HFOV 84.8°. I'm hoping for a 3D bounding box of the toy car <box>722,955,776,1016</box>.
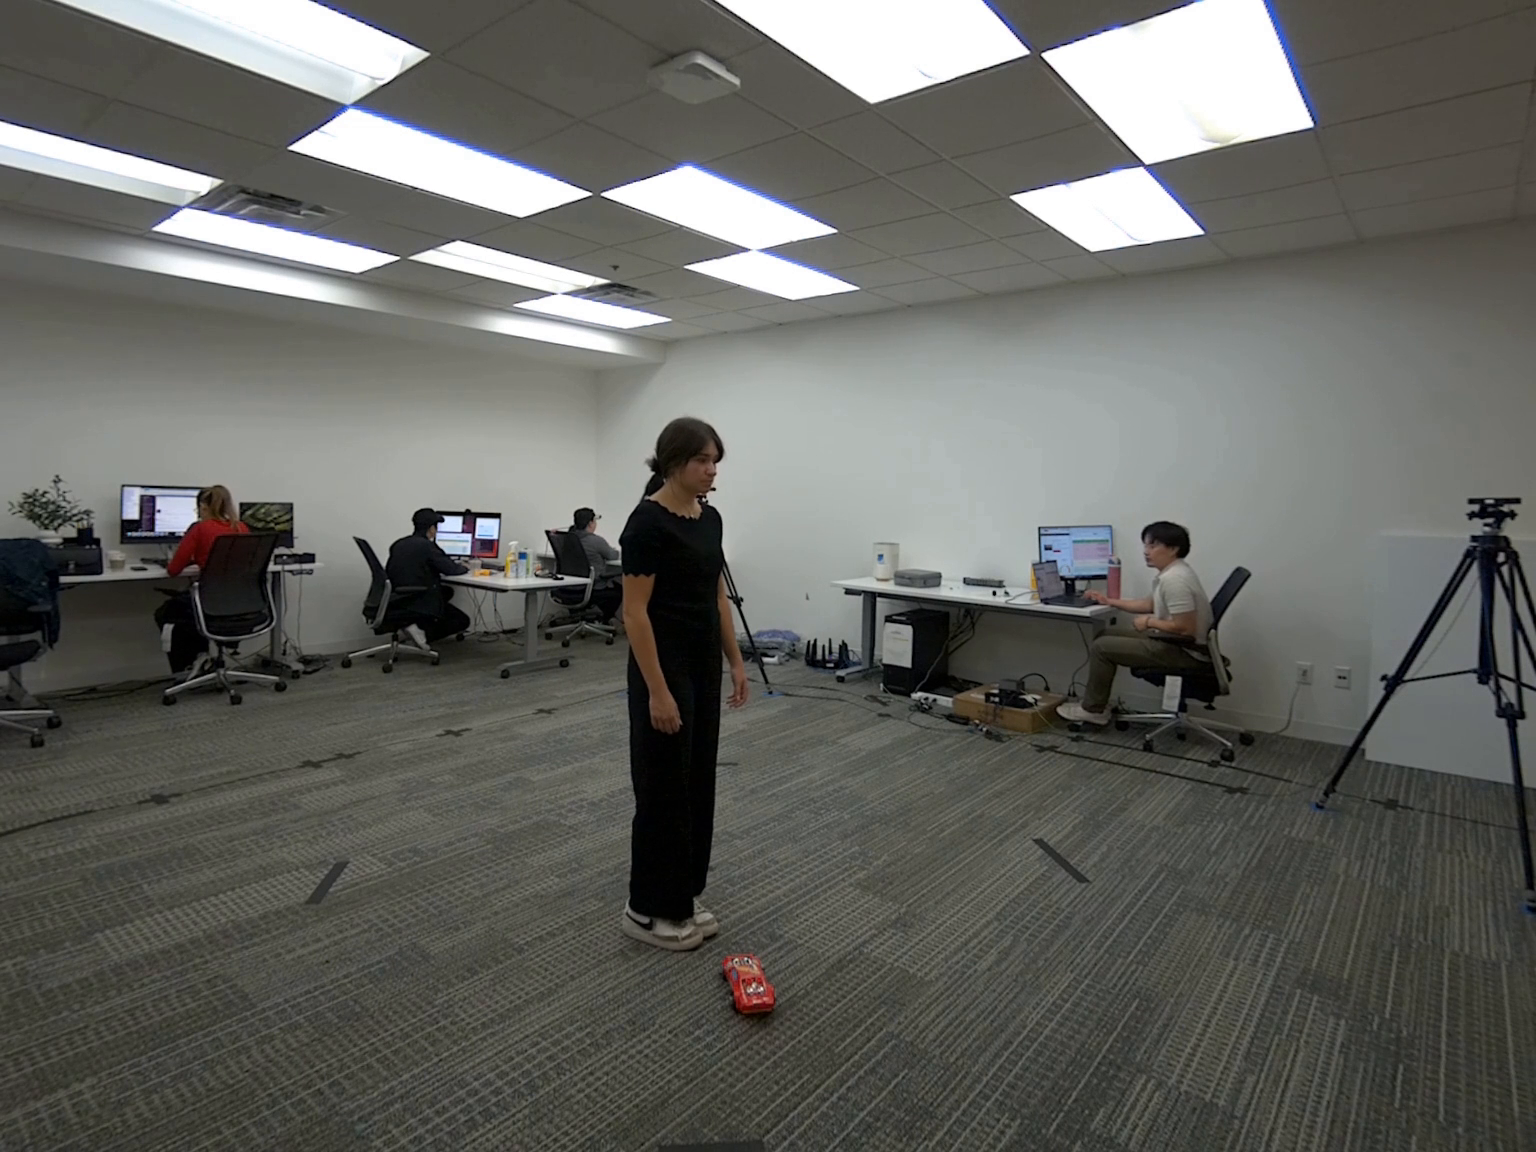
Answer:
[{"bbox_3d":[-0.058,1.118,2.319,0.128,0.084,0.256,0,-5,-13],"label":"toy car"}]
